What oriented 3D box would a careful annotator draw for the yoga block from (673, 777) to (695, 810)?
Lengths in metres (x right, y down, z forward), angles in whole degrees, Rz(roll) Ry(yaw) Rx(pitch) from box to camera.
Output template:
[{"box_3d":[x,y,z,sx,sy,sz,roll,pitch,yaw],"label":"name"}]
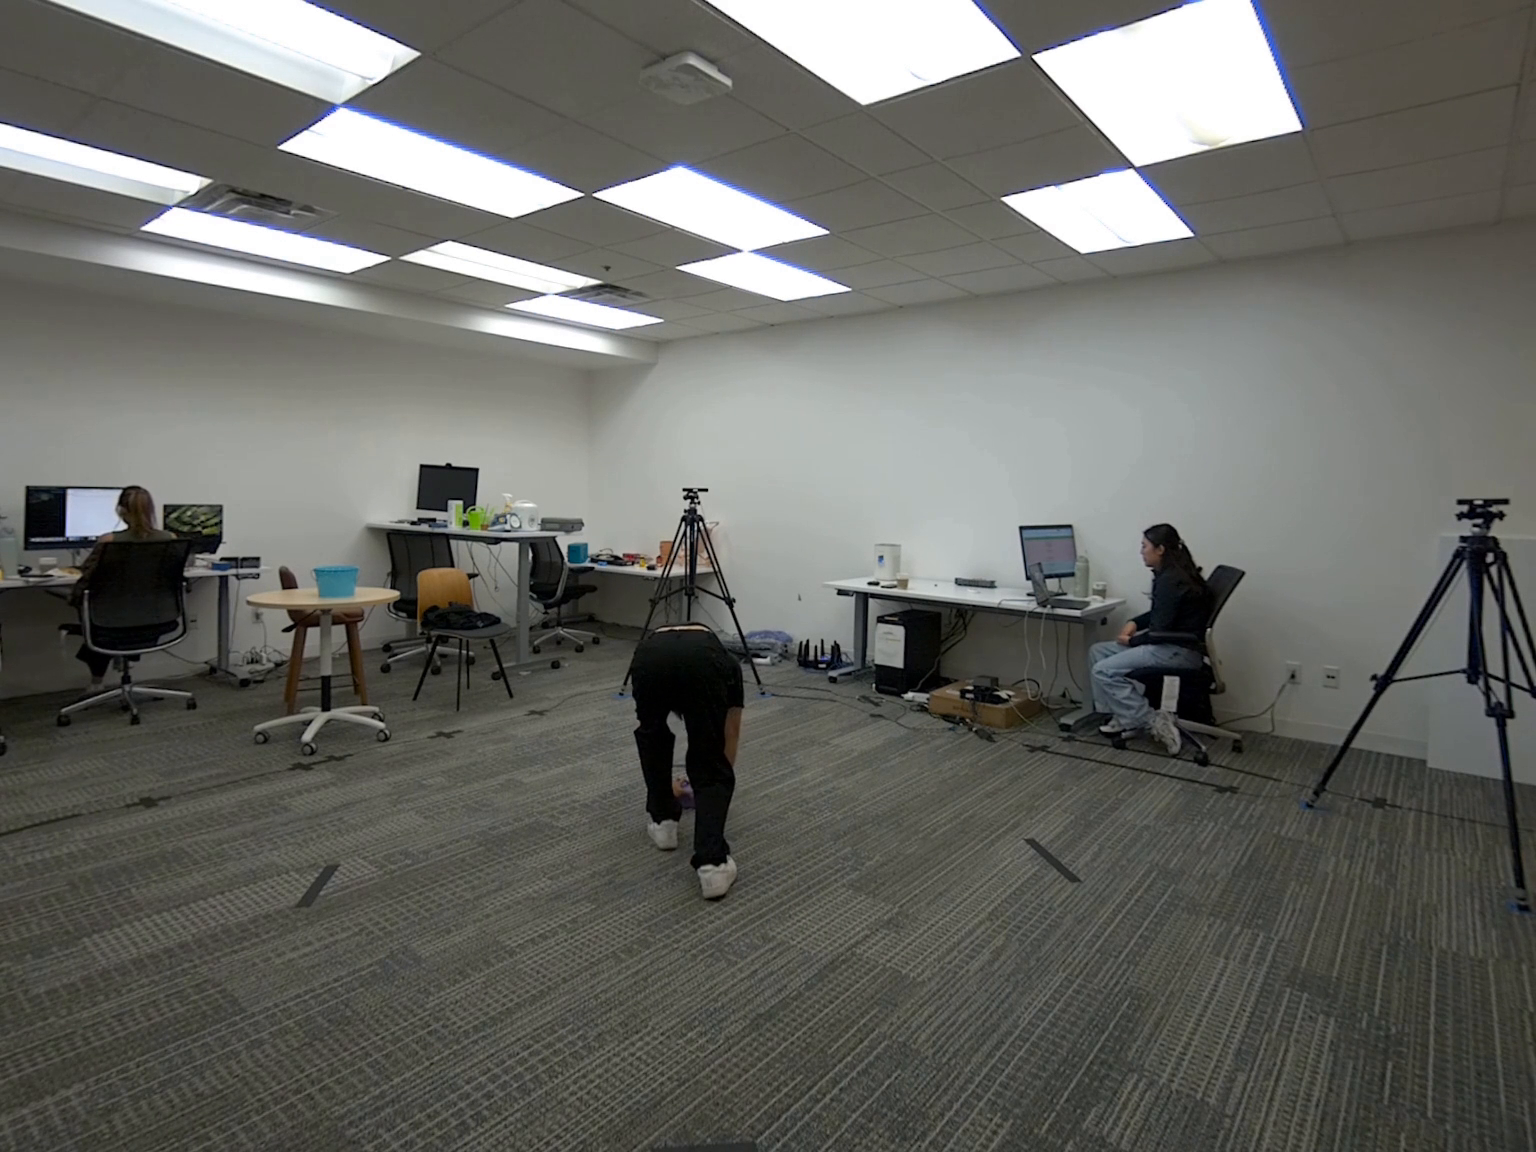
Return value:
[{"box_3d":[-0.319,0.962,3.772,0.227,0.076,0.151,-3,4,-11],"label":"yoga block"}]
